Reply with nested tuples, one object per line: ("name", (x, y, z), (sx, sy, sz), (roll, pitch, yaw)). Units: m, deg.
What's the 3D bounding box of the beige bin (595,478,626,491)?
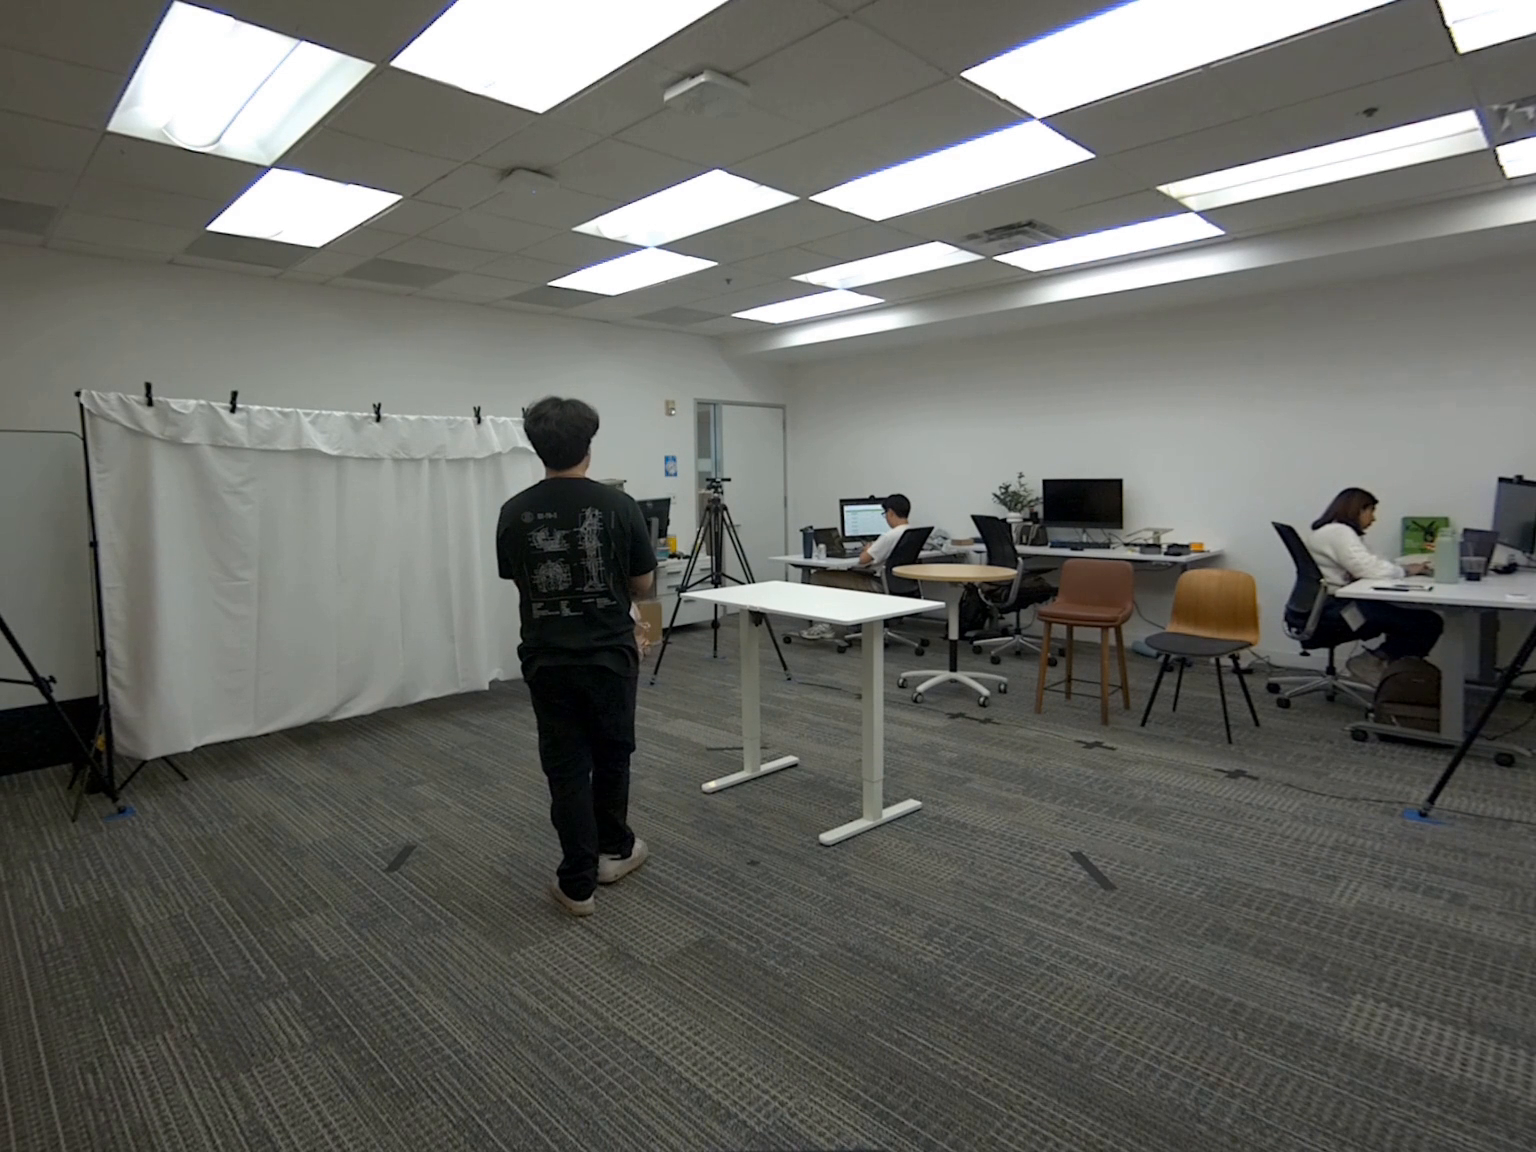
("beige bin", (-0.716, -0.238, 3.159), (0.373, 0.187, 0.430), (-11, 9, -14))
